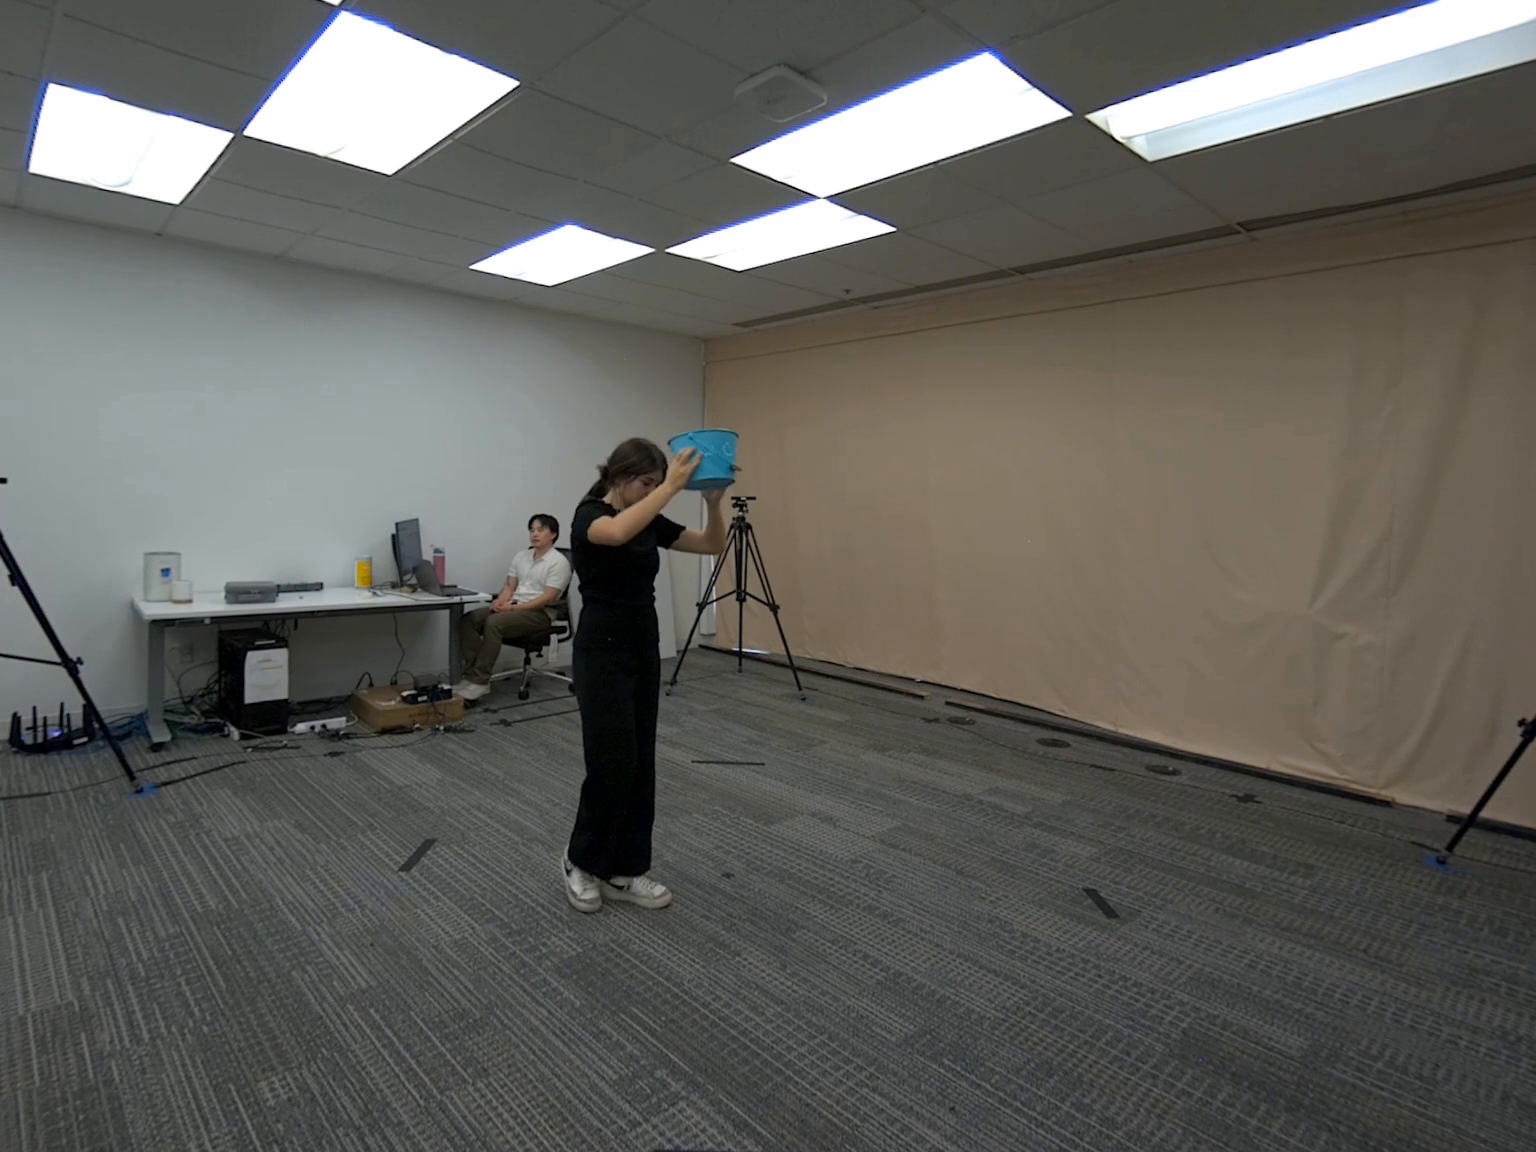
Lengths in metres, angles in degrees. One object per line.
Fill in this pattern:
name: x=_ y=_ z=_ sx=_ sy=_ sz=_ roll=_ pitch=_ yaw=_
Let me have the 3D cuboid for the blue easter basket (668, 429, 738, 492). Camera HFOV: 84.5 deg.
blue easter basket: x=-0.221 y=-0.370 z=2.736 sx=0.243 sy=0.157 sz=0.242 roll=-4 pitch=-5 yaw=-2
